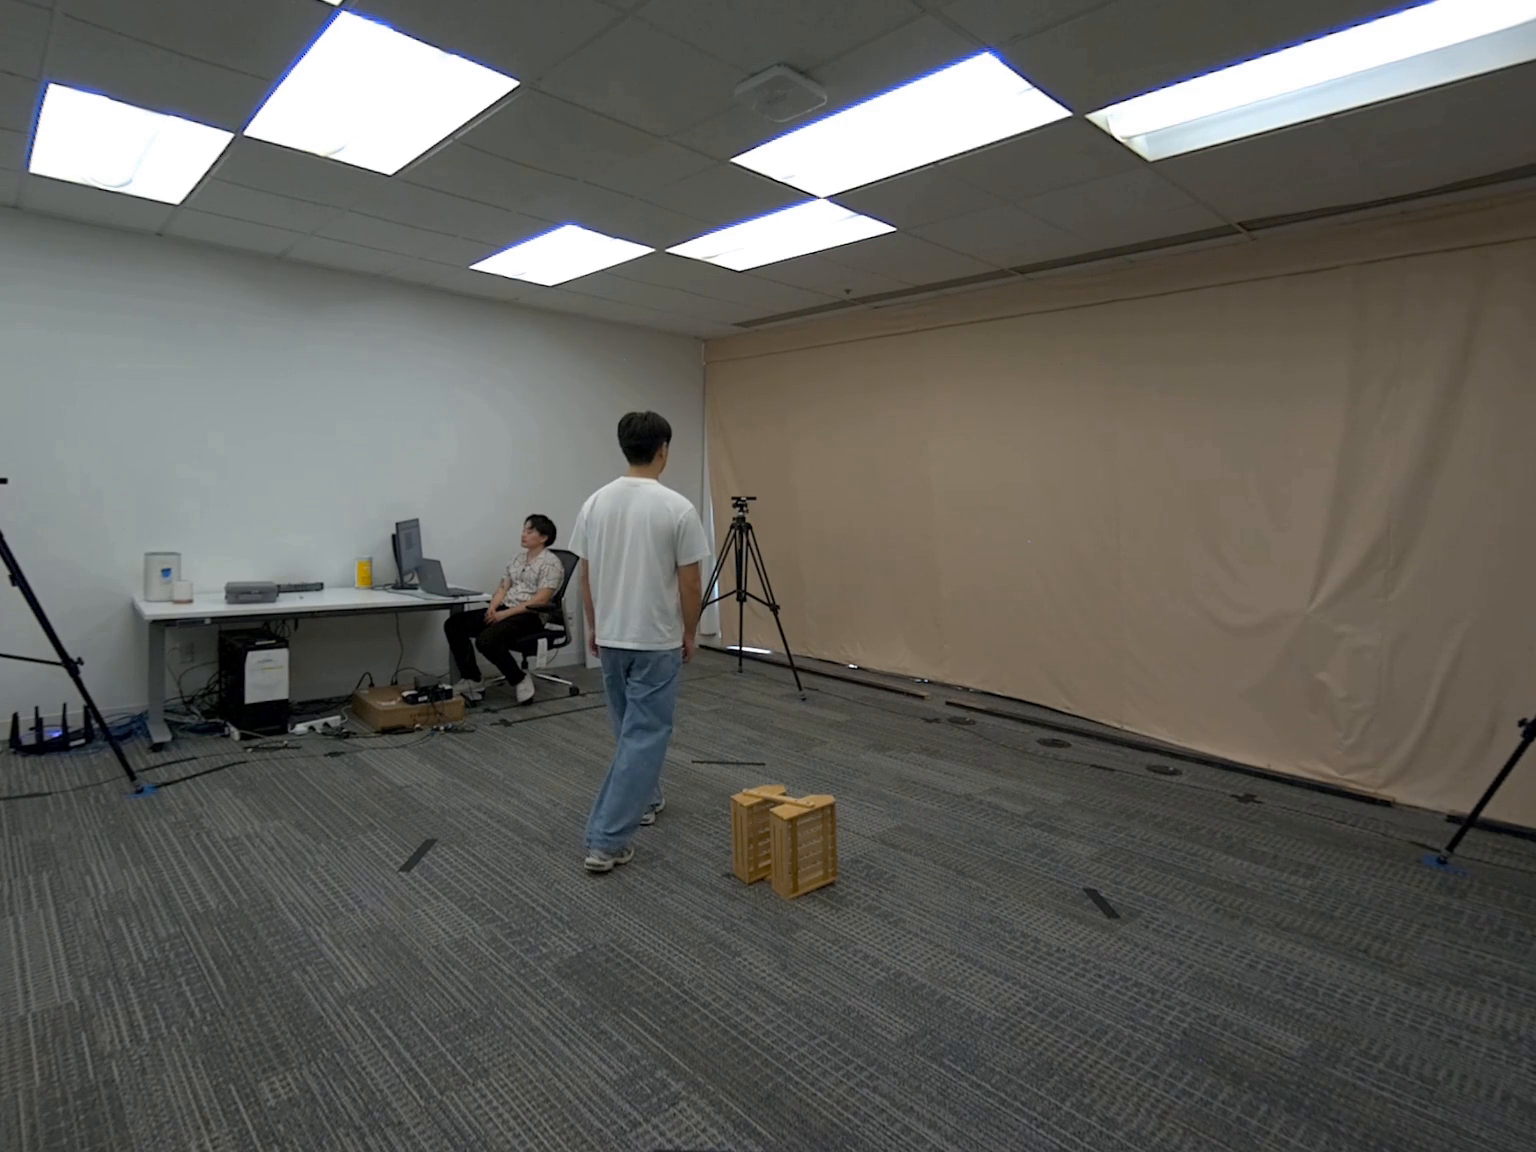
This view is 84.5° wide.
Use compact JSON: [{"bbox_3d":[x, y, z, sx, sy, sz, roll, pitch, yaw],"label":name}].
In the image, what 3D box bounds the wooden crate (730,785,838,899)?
[{"bbox_3d":[0.056,0.948,3.058,0.296,0.322,0.280,-8,12,-36],"label":"wooden crate"}]
